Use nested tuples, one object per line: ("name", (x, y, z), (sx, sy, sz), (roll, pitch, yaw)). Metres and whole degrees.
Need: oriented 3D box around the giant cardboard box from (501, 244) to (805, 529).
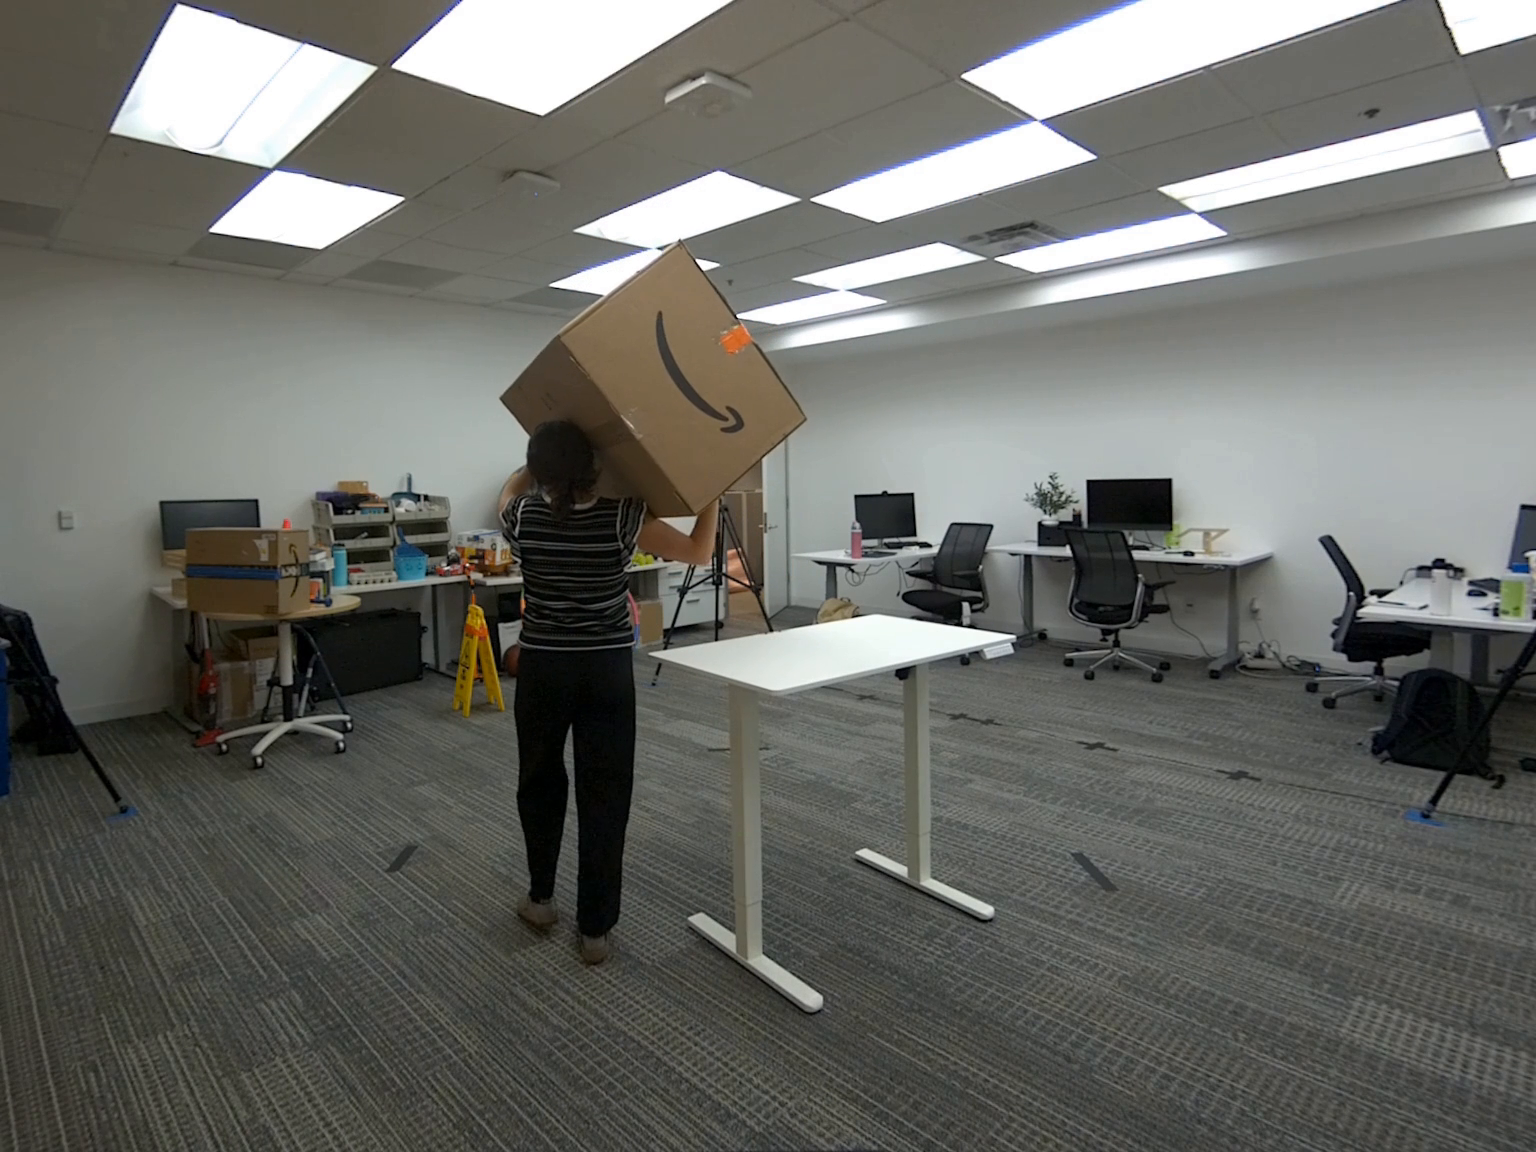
("giant cardboard box", (-0.416, -0.525, 2.666), (0.425, 0.566, 1.048), (-42, 17, -17))
